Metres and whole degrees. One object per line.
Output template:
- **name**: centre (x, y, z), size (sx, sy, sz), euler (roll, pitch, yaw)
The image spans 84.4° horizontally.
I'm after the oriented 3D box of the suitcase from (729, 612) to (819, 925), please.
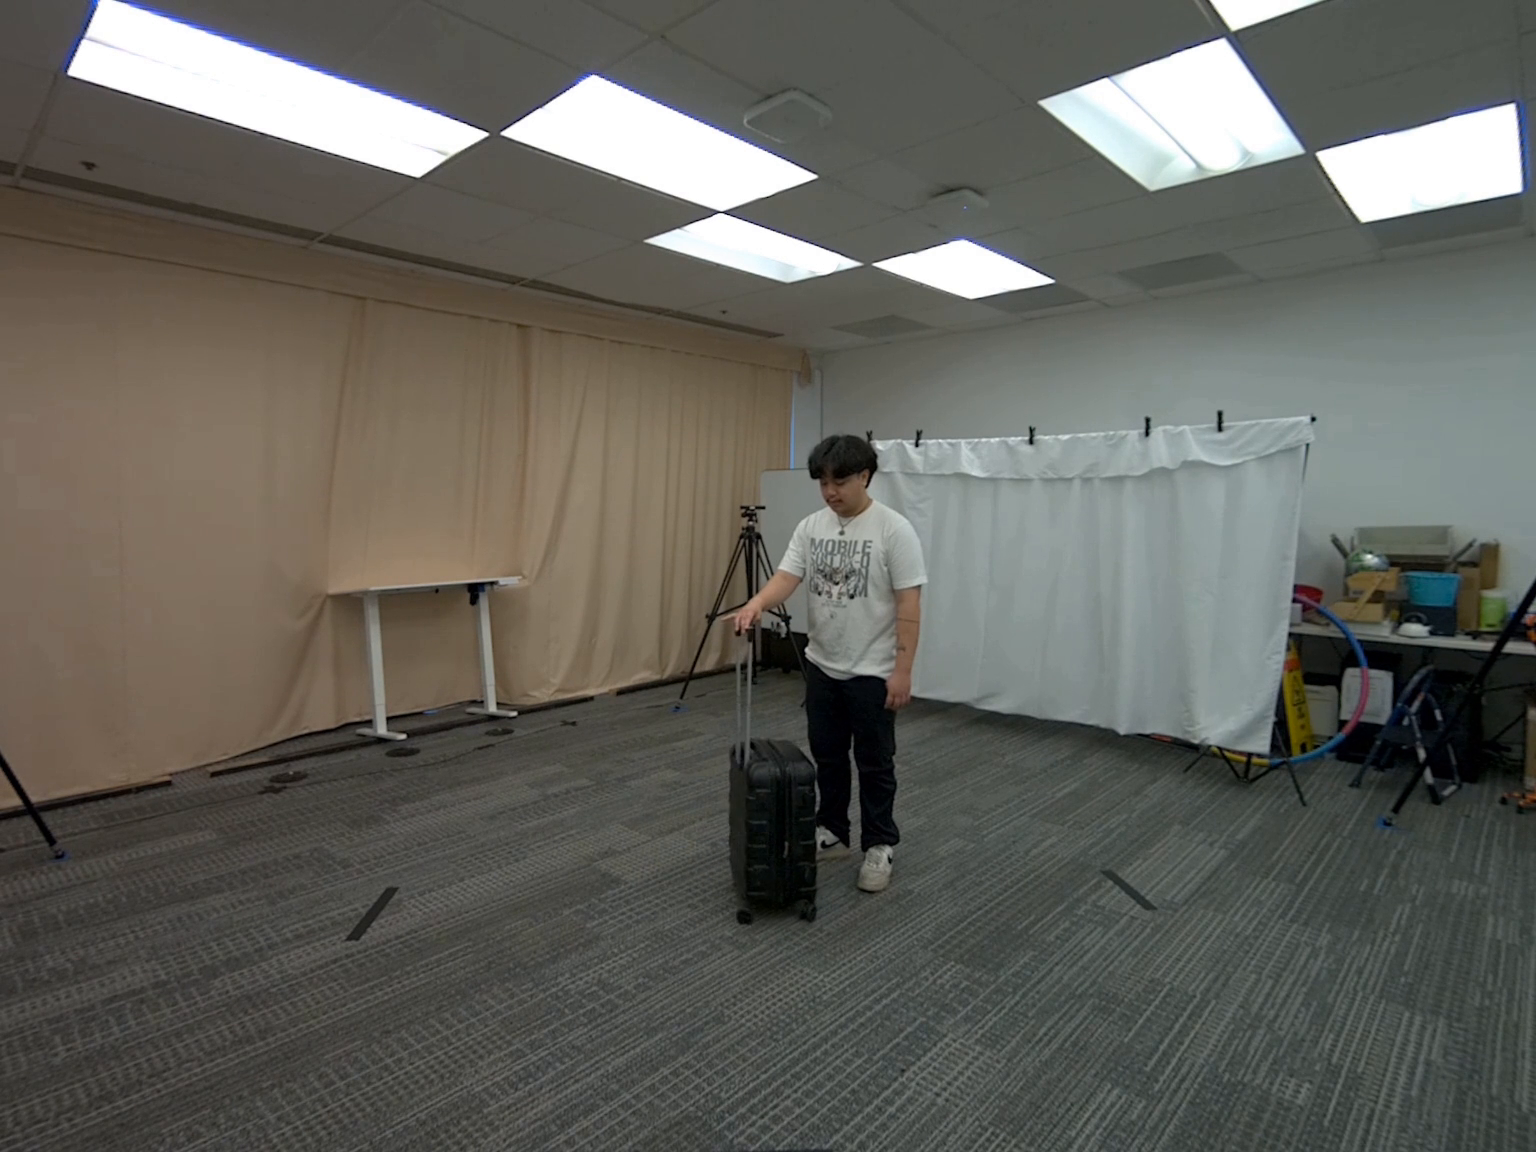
- **suitcase**: centre (0.019, 0.670, 2.955), size (0.255, 0.977, 0.388), euler (1, 3, -9)
